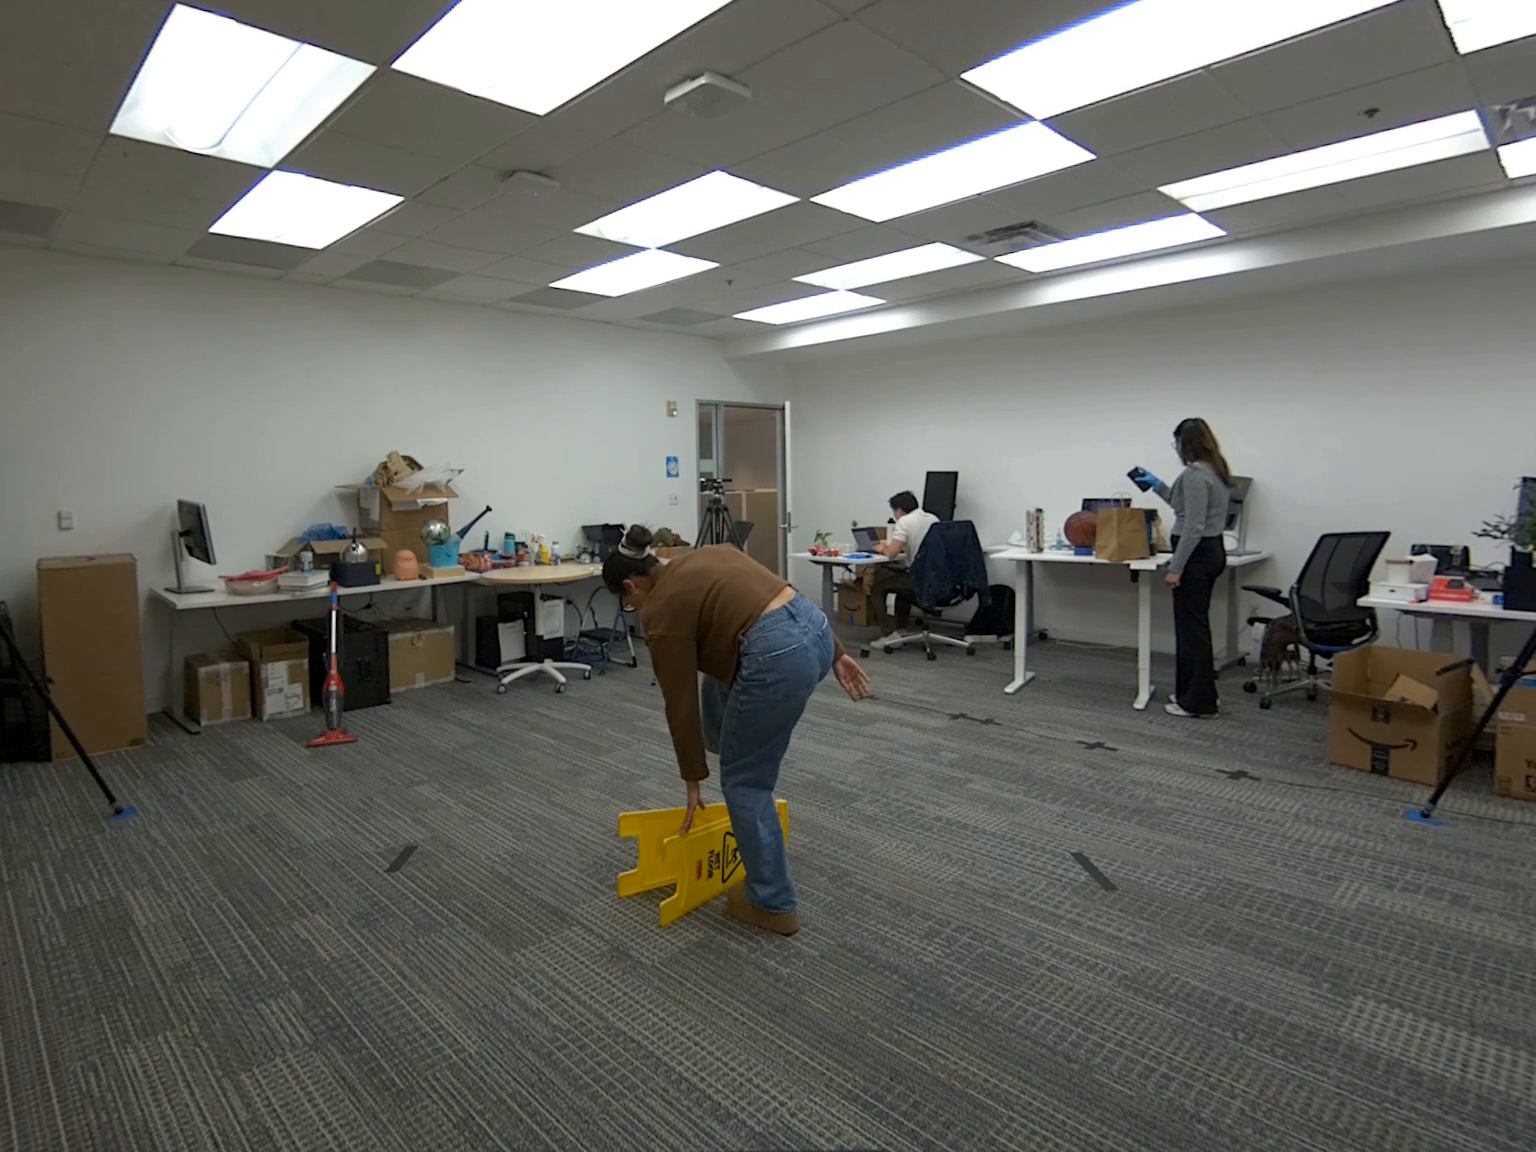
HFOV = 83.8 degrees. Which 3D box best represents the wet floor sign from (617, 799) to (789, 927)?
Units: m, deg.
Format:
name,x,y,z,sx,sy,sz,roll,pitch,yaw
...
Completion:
name,x,y,z,sx,sy,sz,roll,pitch,yaw
wet floor sign,-0.178,0.937,2.968,0.628,0.281,0.299,-3,5,-40
